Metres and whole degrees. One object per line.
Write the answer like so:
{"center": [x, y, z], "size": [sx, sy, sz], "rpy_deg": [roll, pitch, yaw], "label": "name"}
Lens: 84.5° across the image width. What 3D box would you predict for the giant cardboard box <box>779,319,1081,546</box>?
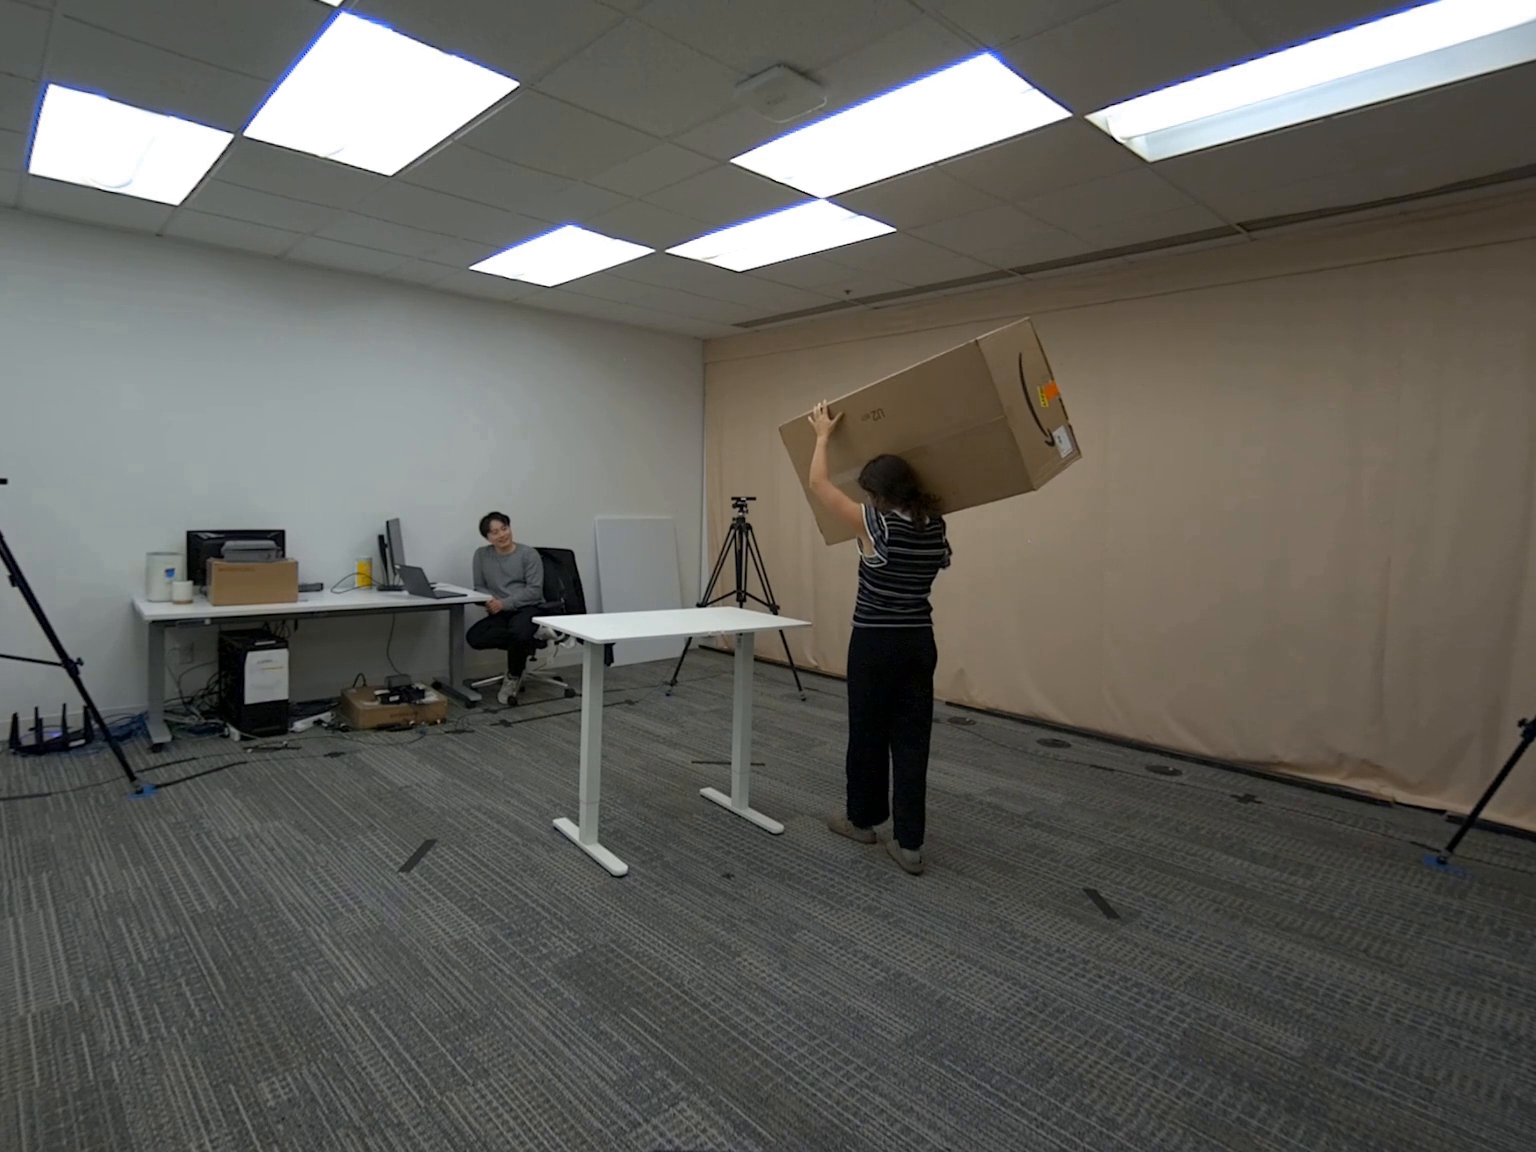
{"center": [0.617, -0.546, 3.439], "size": [0.422, 0.574, 1.043], "rpy_deg": [-30, 10, -41], "label": "giant cardboard box"}
